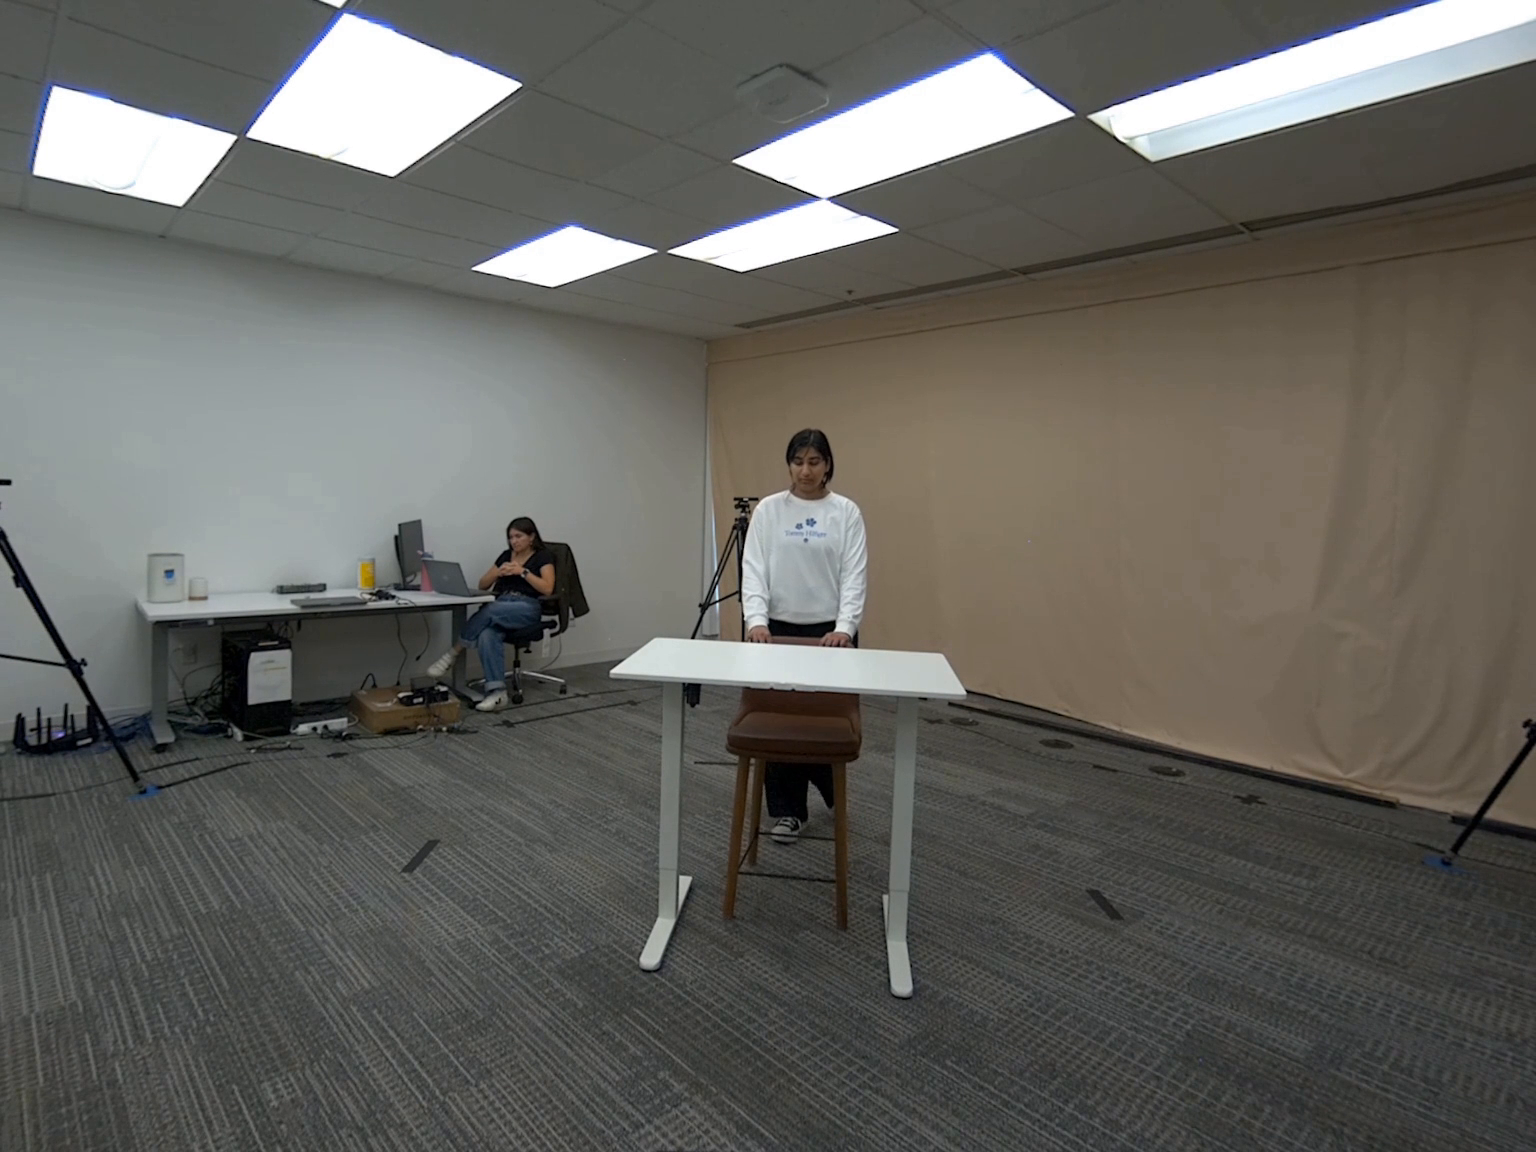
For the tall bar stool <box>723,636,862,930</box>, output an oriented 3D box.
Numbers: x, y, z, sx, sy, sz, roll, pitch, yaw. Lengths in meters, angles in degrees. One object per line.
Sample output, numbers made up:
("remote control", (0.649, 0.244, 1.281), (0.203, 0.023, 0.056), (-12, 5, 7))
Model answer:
("tall bar stool", (0.092, 0.695, 2.958), (0.460, 0.889, 0.464), (1, 1, 9))
